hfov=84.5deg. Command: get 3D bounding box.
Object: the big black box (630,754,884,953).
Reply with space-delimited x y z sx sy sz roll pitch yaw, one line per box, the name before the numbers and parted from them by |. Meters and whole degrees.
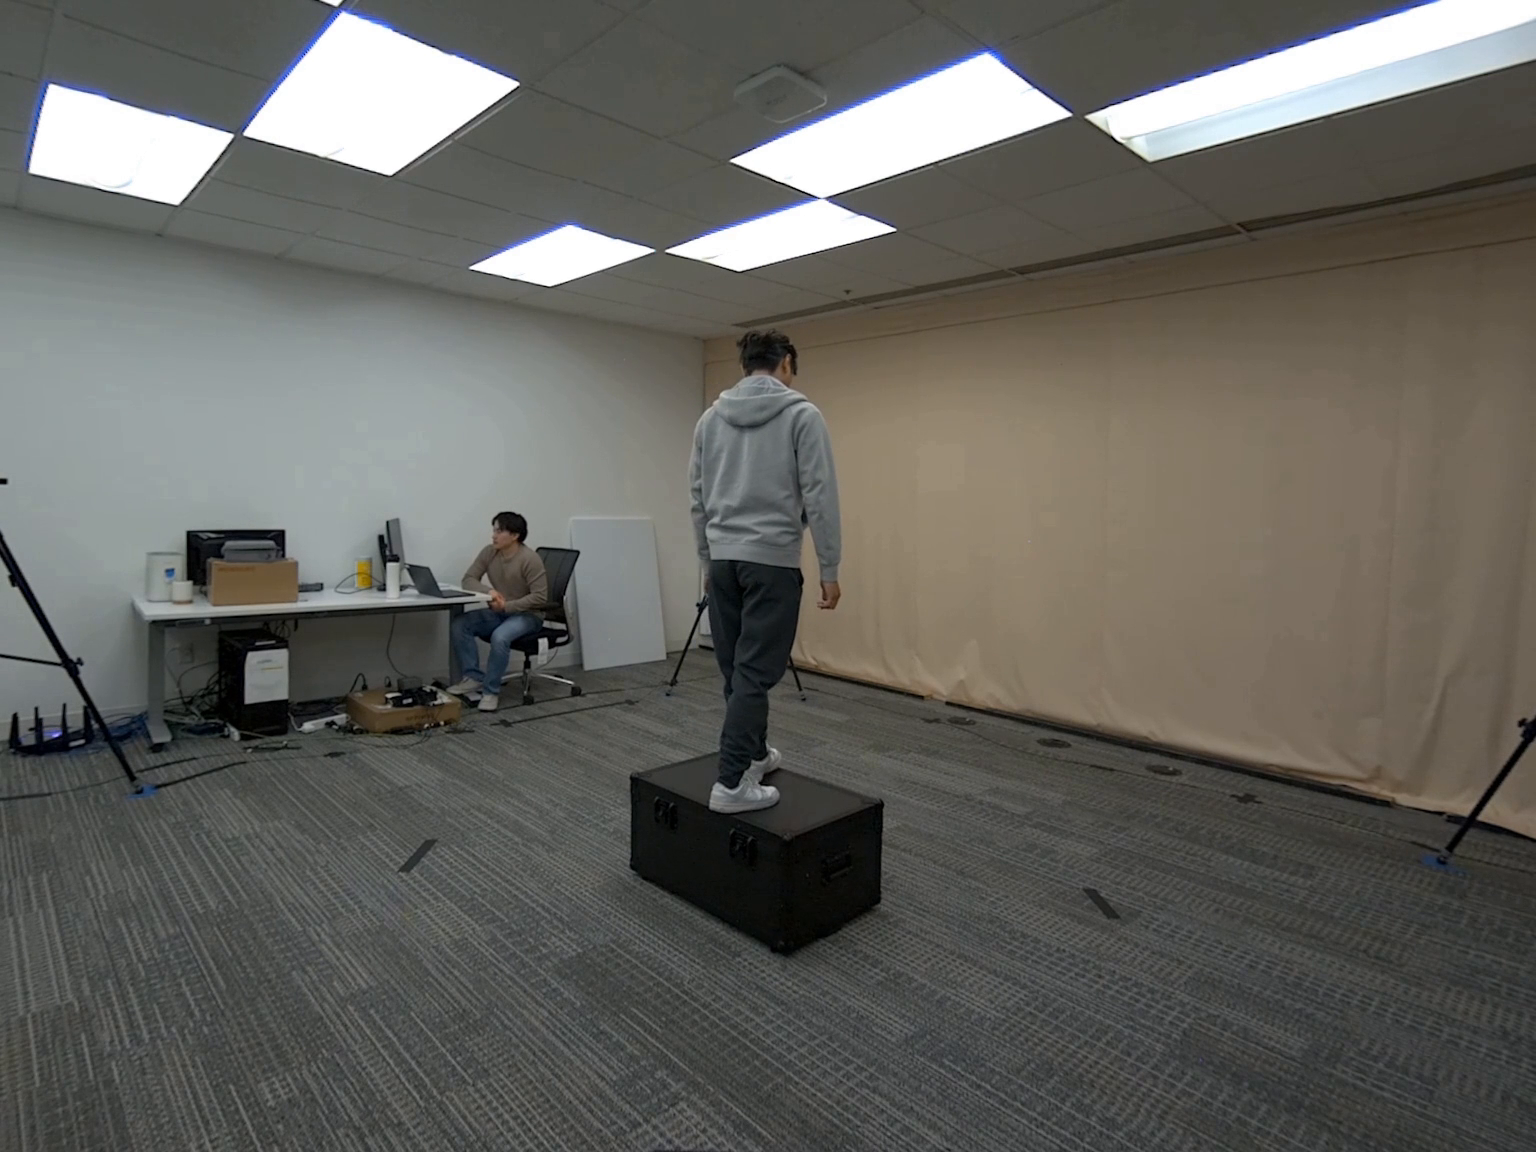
big black box | -0.085 0.928 2.997 0.884 0.395 0.509 7 7 44
